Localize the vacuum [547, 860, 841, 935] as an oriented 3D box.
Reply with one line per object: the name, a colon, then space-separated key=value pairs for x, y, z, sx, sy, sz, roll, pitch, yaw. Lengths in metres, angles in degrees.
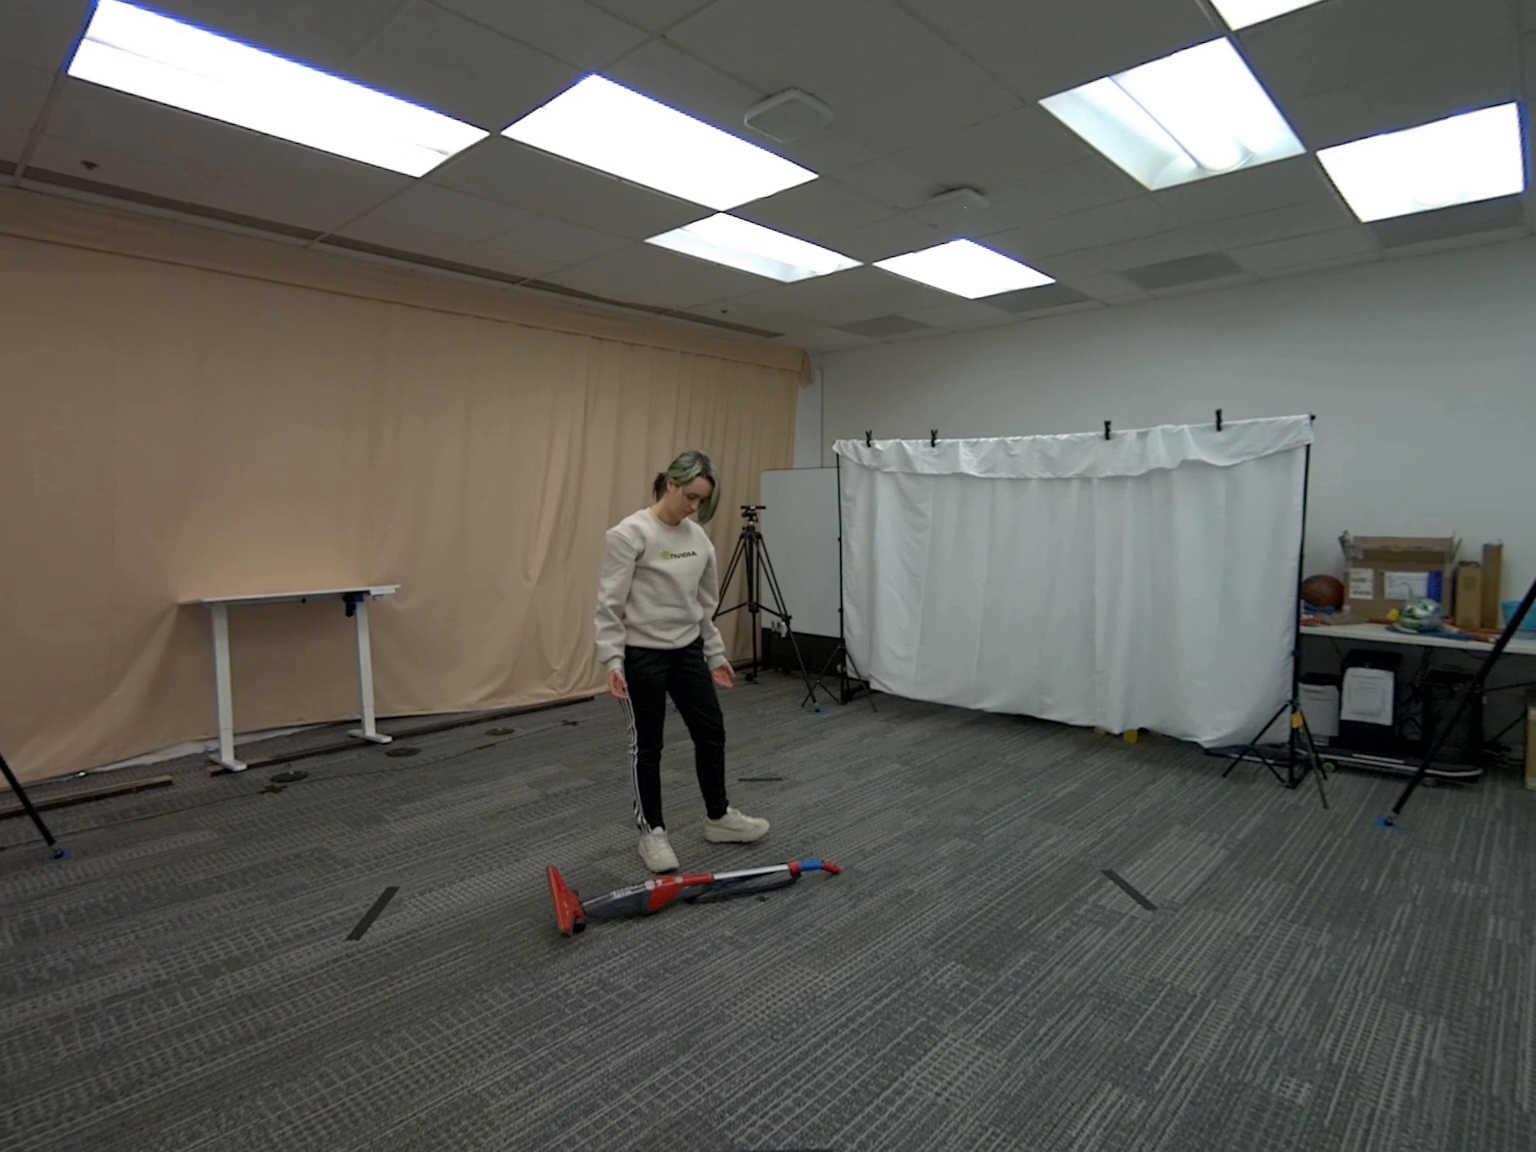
vacuum: x=-0.207 y=1.099 z=2.971 sx=1.025 sy=0.143 sz=0.260 roll=3 pitch=32 yaw=-23
